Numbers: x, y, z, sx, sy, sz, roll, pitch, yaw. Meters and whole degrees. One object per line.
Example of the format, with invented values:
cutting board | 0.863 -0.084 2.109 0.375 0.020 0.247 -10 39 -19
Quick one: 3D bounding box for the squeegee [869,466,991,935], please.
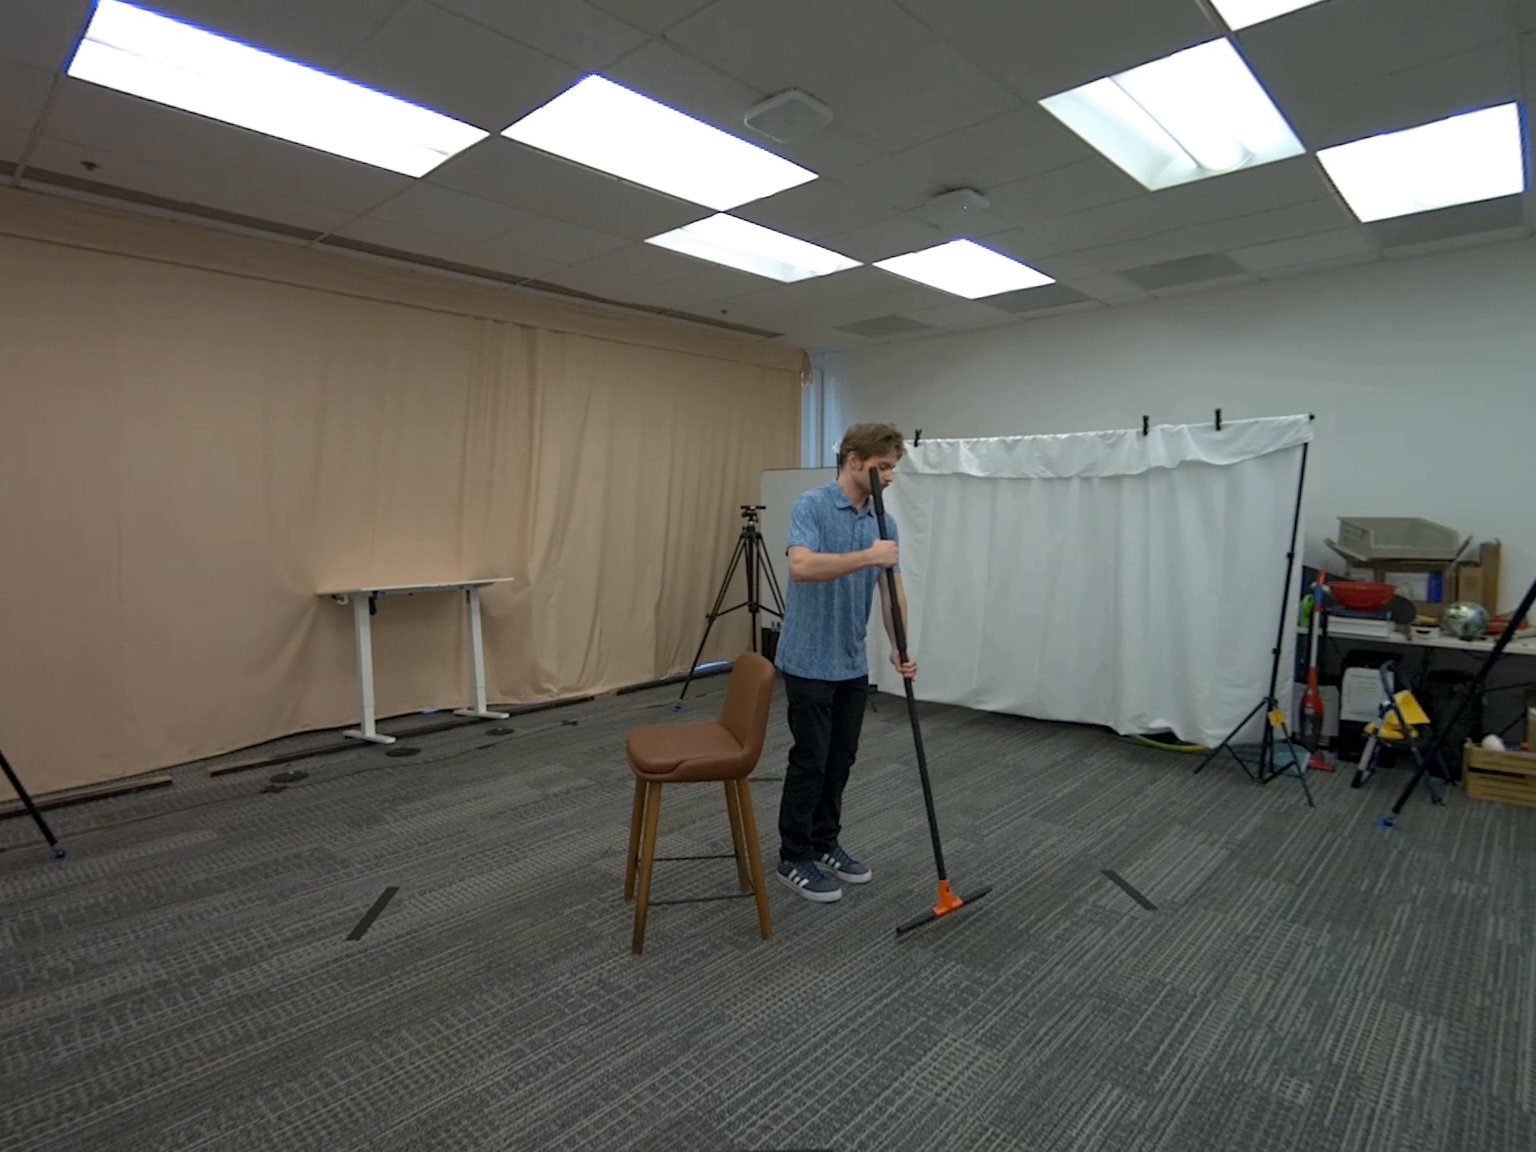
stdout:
squeegee | 0.505 0.378 2.831 0.426 1.543 0.054 -4 -5 -30
